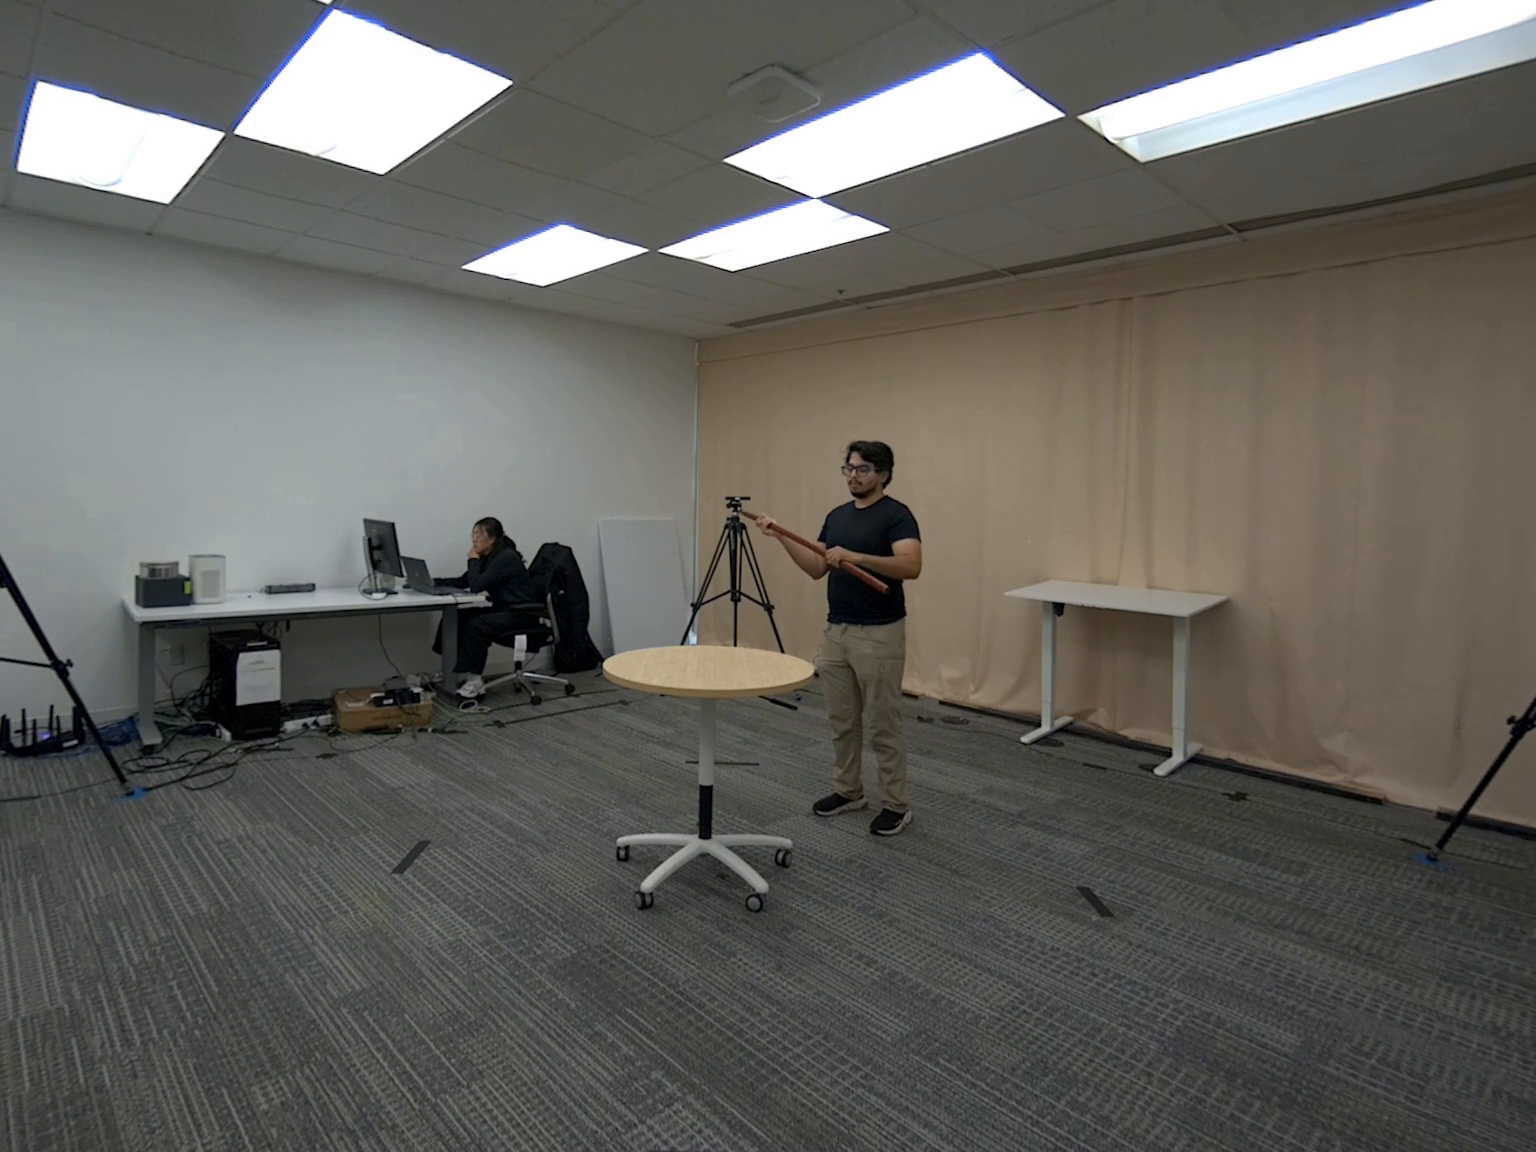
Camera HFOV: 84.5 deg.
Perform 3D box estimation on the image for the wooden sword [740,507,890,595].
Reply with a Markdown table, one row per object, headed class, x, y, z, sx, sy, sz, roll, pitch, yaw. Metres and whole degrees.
| class | x | y | z | sx | sy | sz | roll | pitch | yaw |
| --- | --- | --- | --- | --- | --- | --- | --- | --- | --- |
| wooden sword | 0.160 | -0.133 | 3.516 | 0.023 | 0.051 | 1.057 | 40 | -4 | -38 |
